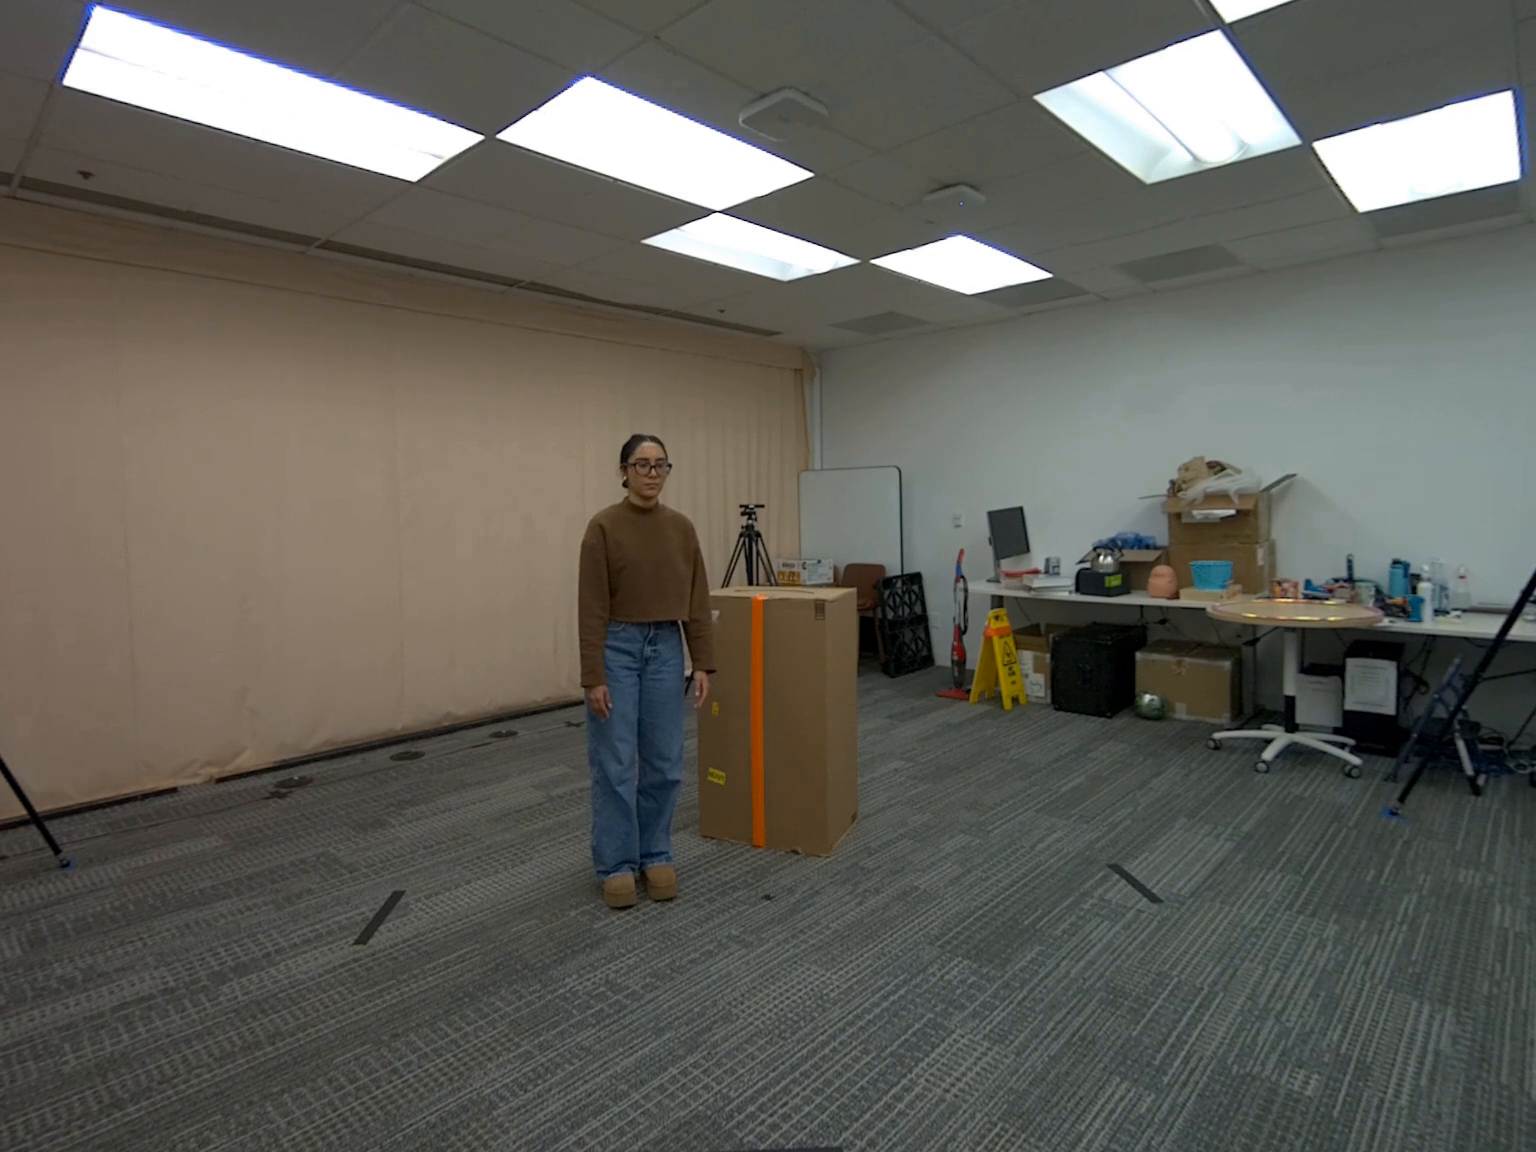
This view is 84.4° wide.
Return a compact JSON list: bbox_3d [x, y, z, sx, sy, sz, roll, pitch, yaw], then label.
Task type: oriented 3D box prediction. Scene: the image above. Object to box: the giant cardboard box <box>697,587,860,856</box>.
[{"bbox_3d":[0.049,0.577,3.595,0.592,1.023,0.417,1,4,24],"label":"giant cardboard box"}]
